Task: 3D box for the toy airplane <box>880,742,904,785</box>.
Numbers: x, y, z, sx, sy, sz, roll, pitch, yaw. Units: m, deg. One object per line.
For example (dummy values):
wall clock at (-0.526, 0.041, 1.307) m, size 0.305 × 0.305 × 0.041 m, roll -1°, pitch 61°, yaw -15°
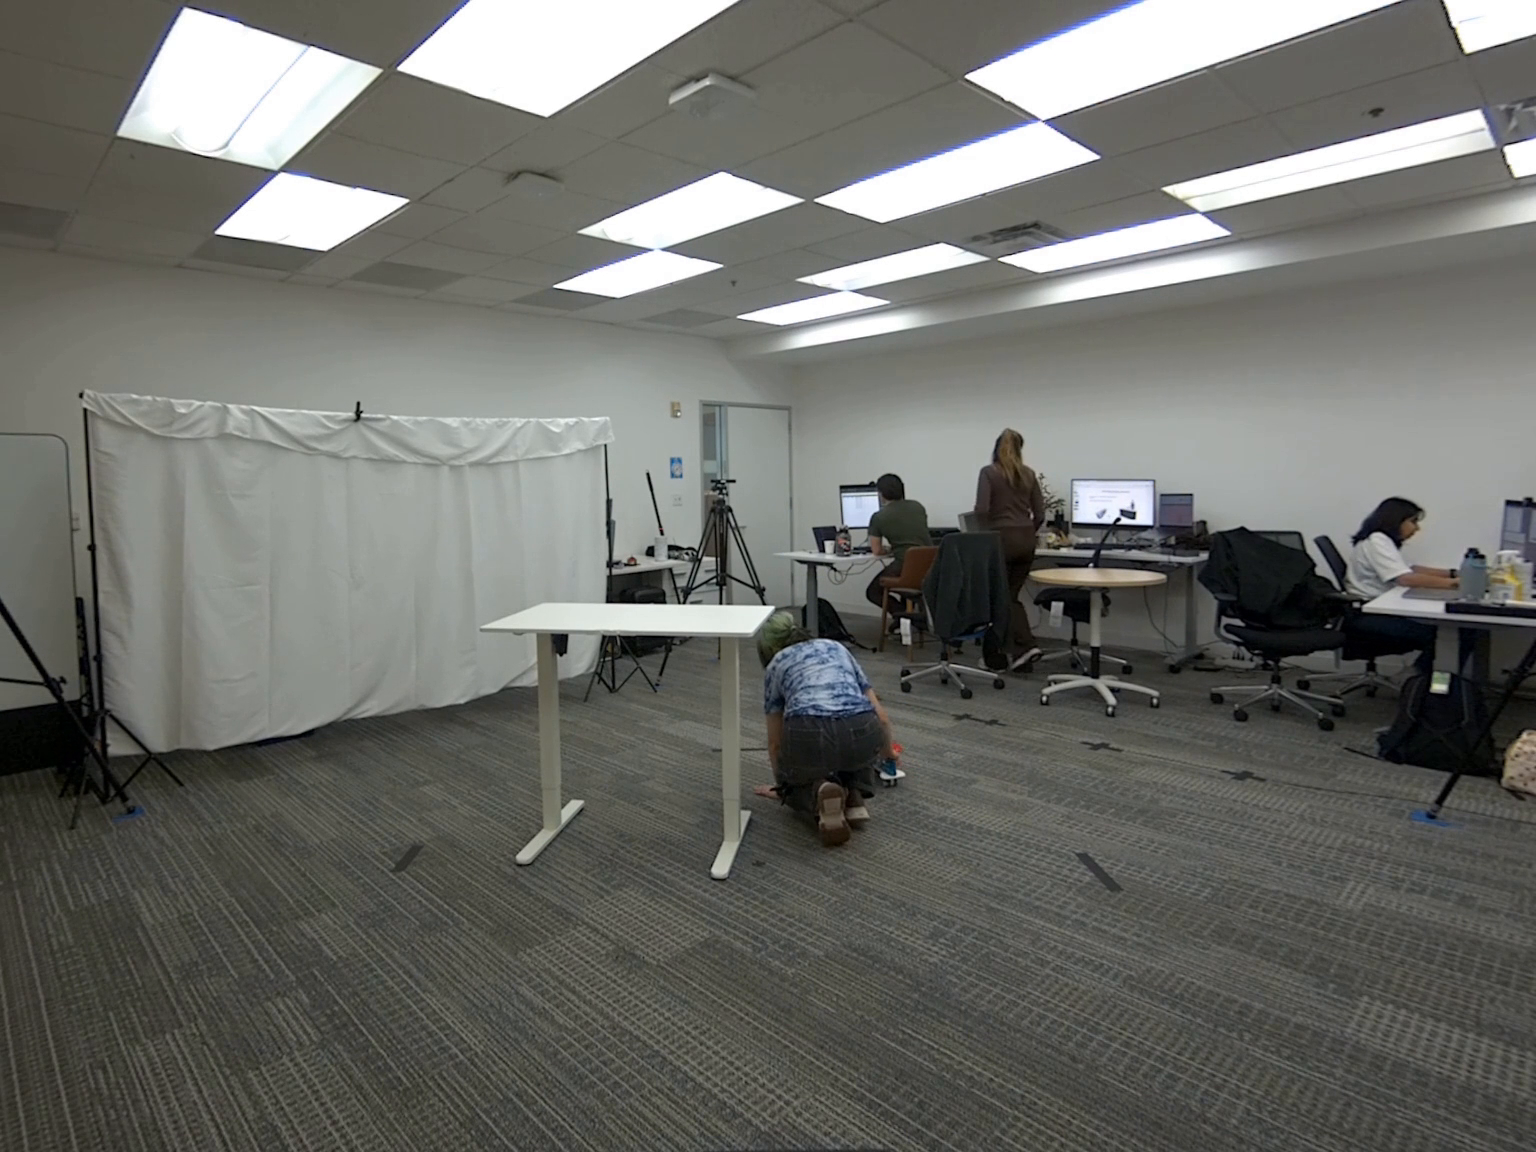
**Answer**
toy airplane at (0.534, 0.872, 3.958) m, size 0.267 × 0.156 × 0.244 m, roll 1°, pitch 3°, yaw 40°
